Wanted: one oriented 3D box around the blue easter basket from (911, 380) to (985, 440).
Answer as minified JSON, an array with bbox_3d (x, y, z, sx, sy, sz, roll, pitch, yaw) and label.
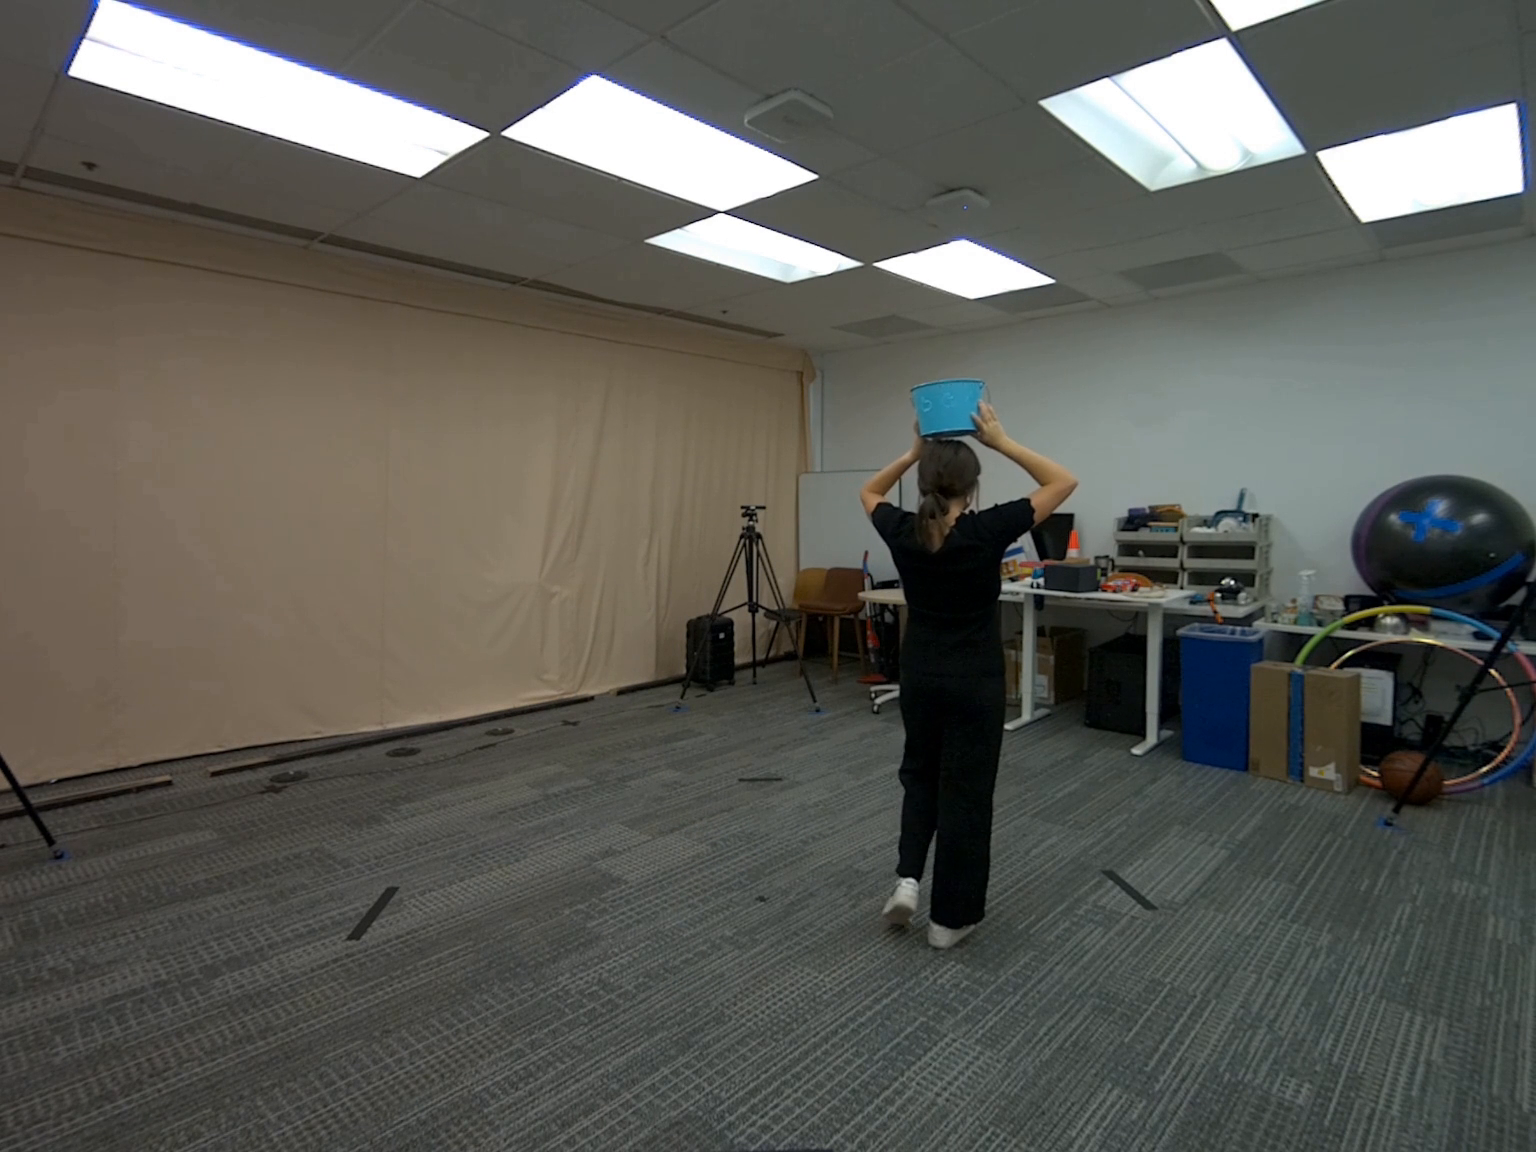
[{"bbox_3d":[0.599,-0.528,2.682,0.243,0.156,0.244,-3,2,-2],"label":"blue easter basket"}]
